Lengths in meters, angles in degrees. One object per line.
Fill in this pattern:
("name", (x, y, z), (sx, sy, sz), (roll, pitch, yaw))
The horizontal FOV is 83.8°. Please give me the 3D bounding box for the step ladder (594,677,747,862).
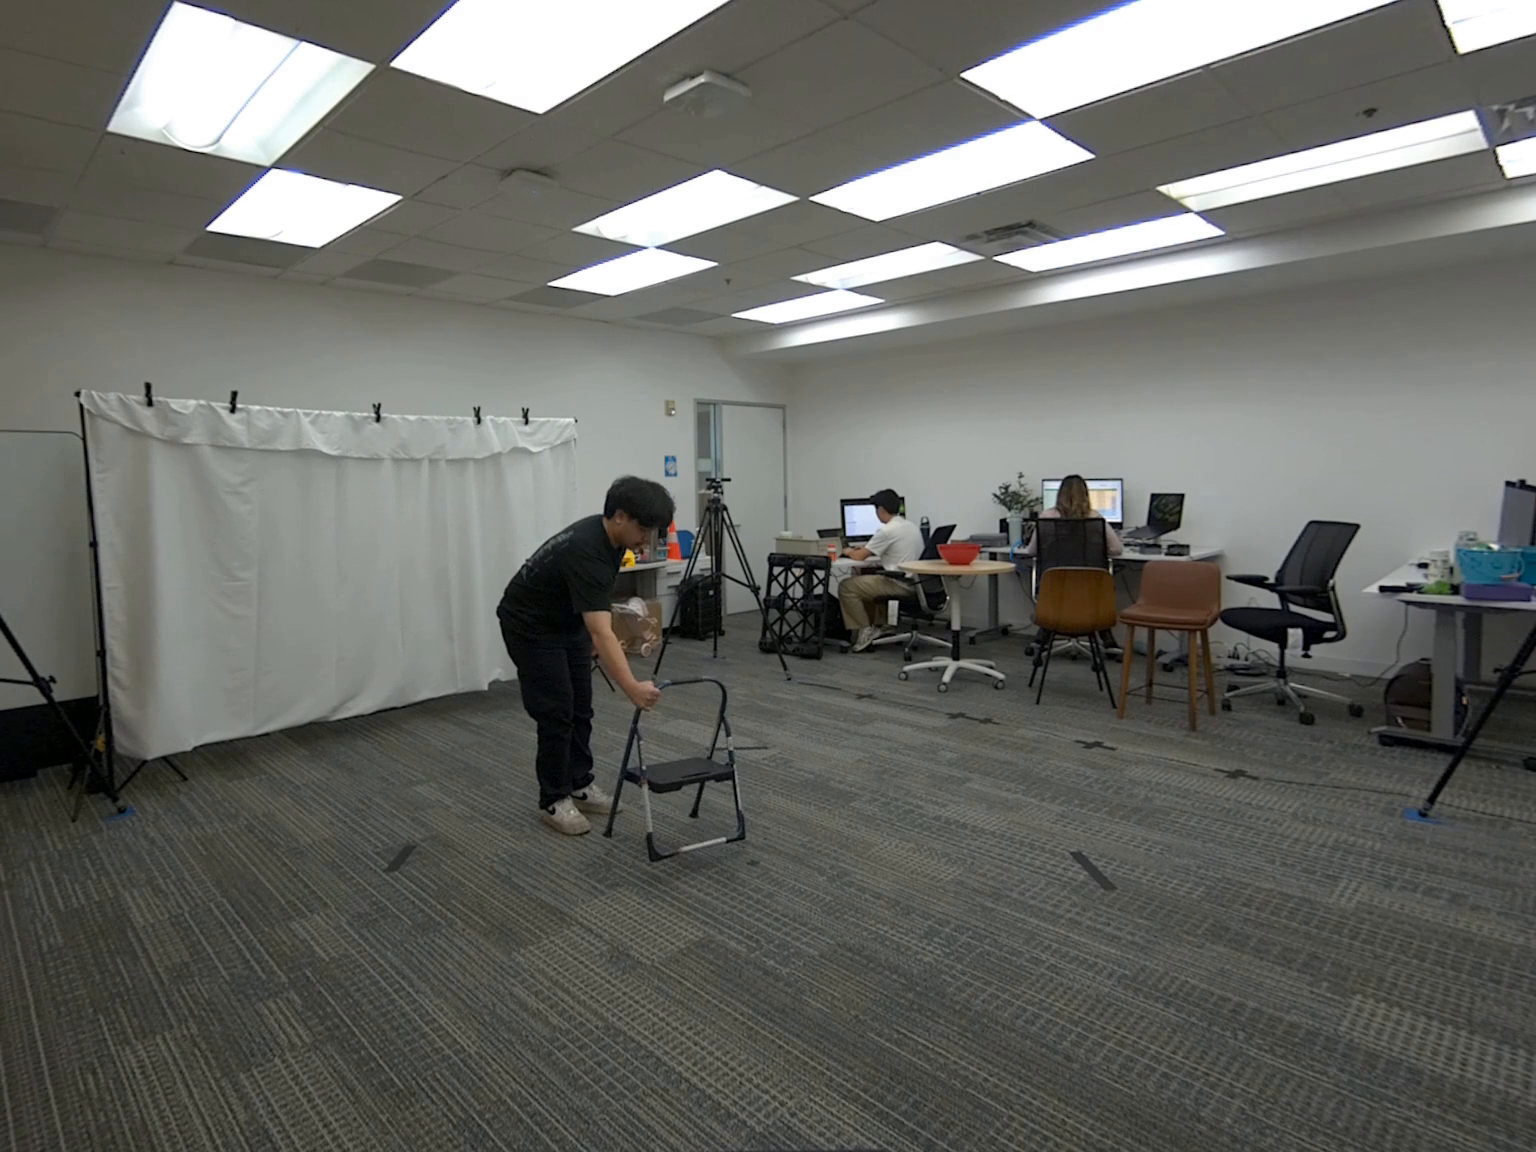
("step ladder", (-0.342, 0.673, 3.186), (0.418, 0.606, 0.359), (1, 0, -40))
